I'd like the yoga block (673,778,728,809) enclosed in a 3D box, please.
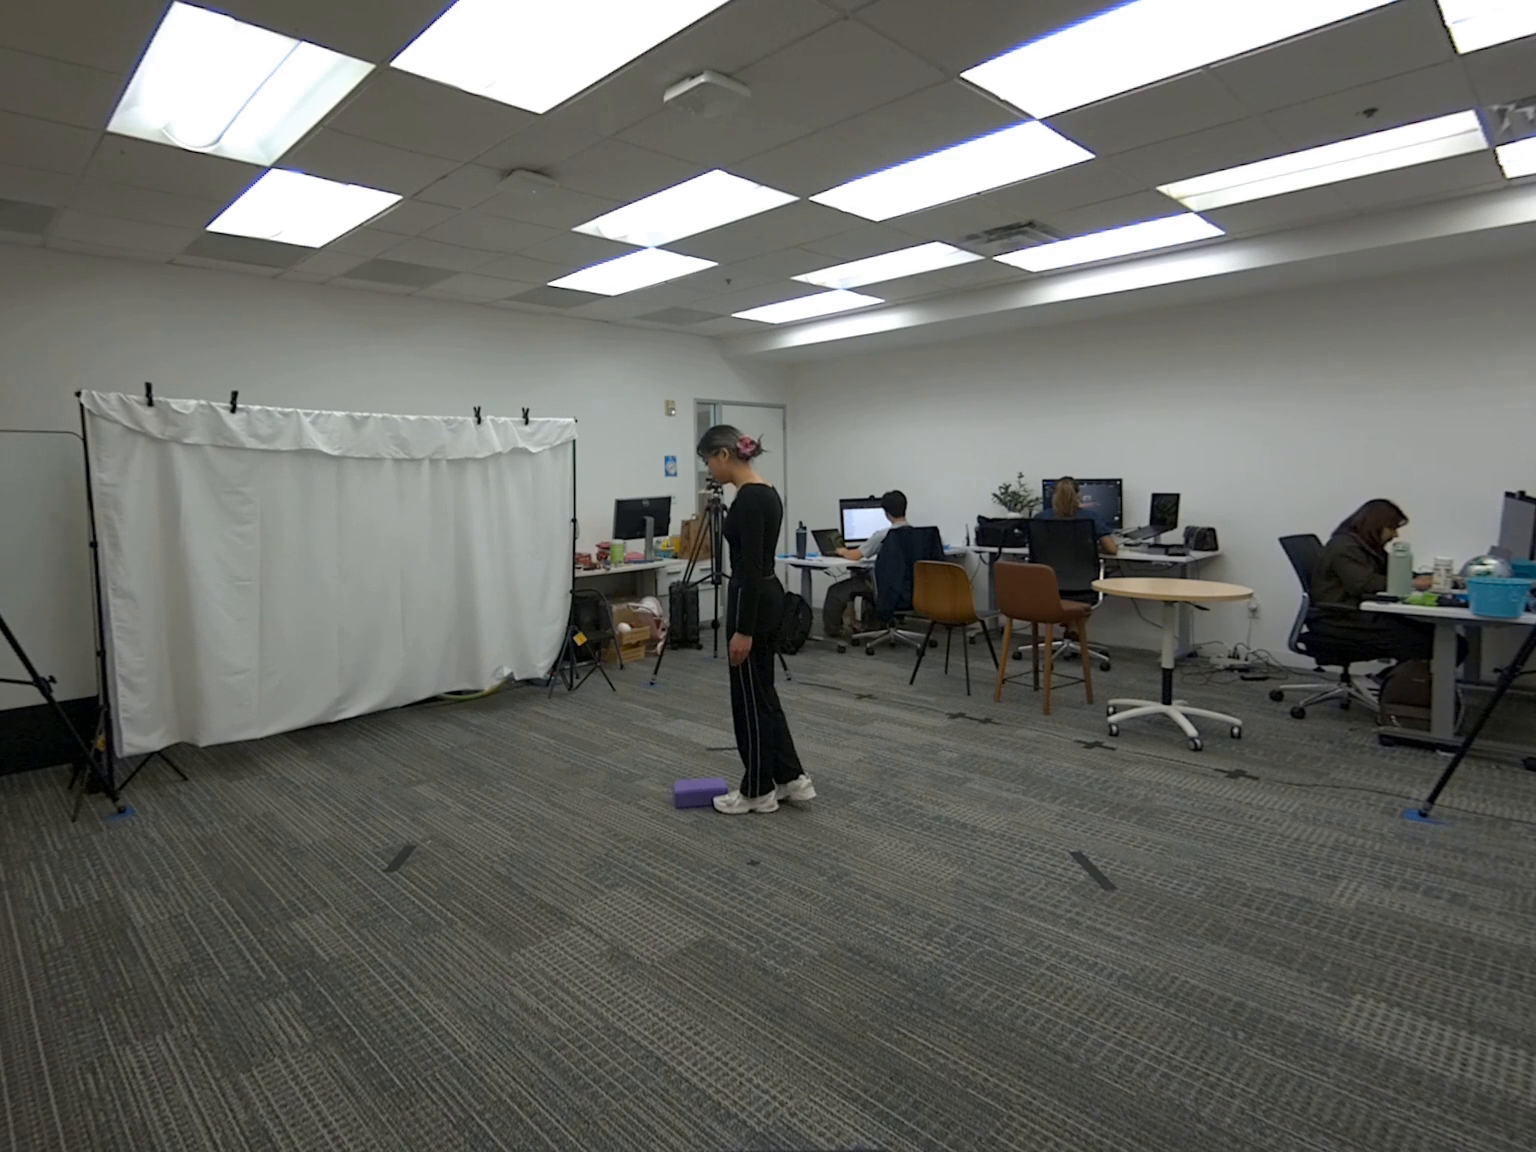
[{"bbox_3d":[-0.293,0.938,3.714,0.227,0.076,0.151,-3,8,-8],"label":"yoga block"}]
